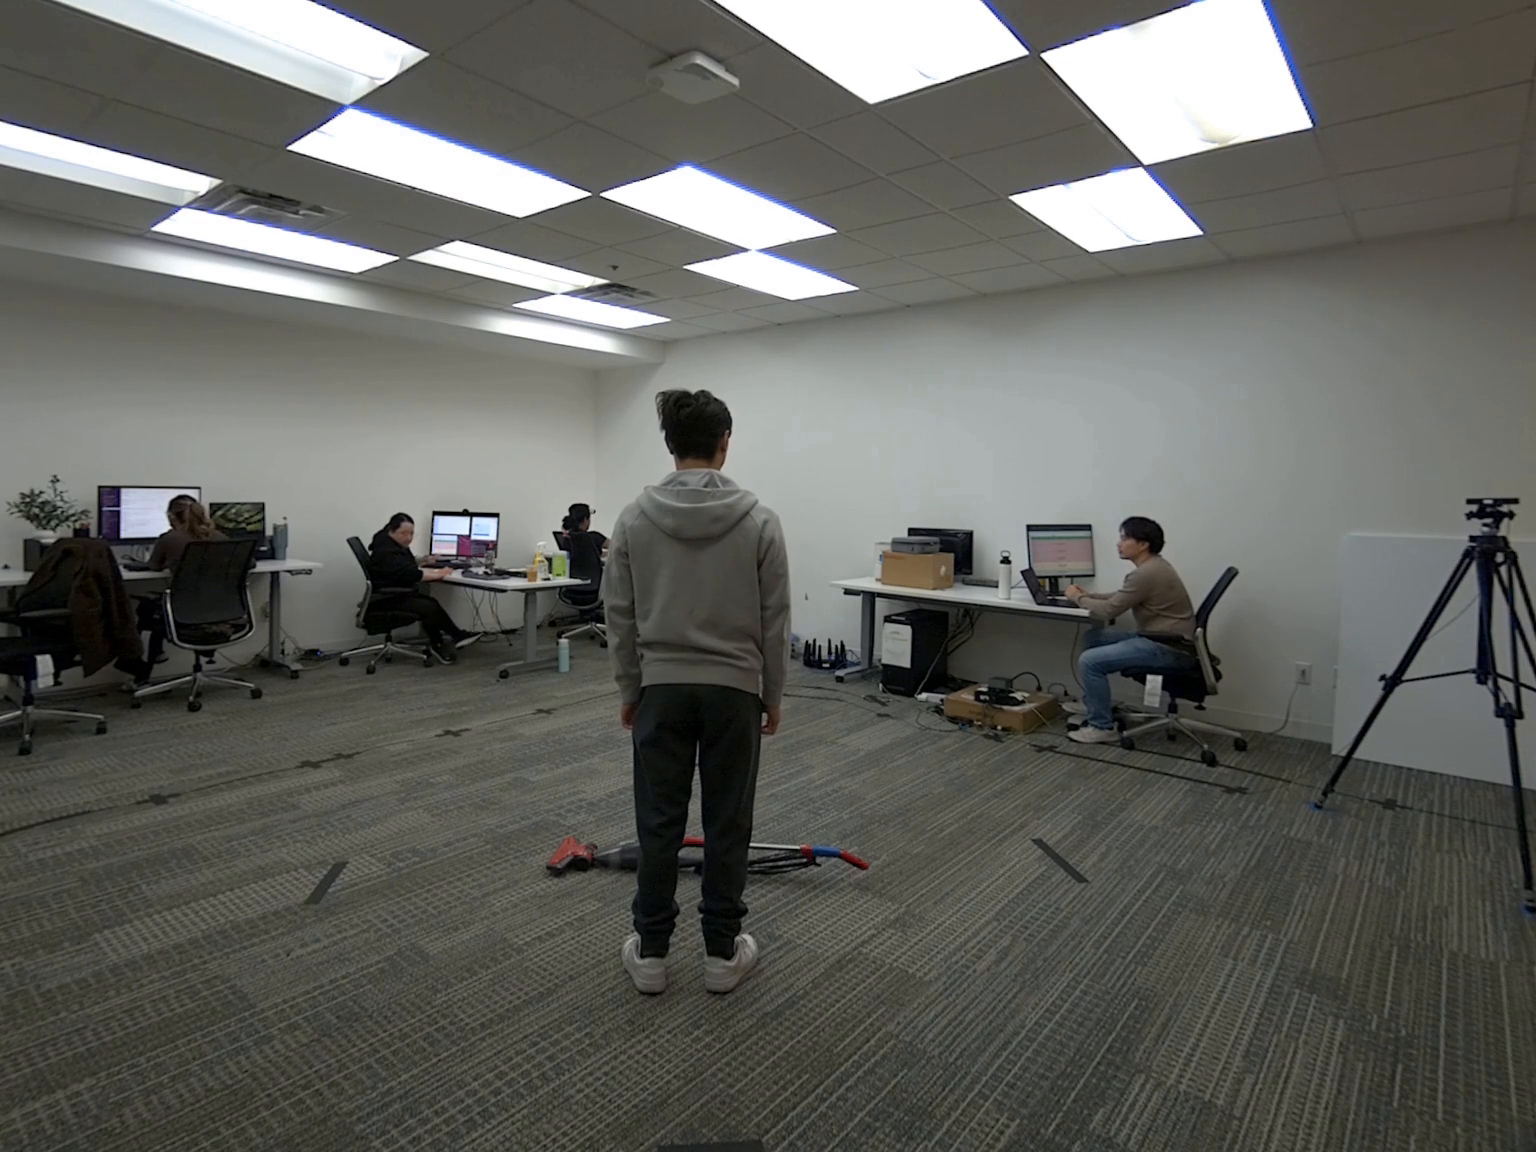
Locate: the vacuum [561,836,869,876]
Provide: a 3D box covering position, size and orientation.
[{"bbox_3d":[-0.177,1.017,3.064,1.056,0.144,0.250,-1,-2,6],"label":"vacuum"}]
